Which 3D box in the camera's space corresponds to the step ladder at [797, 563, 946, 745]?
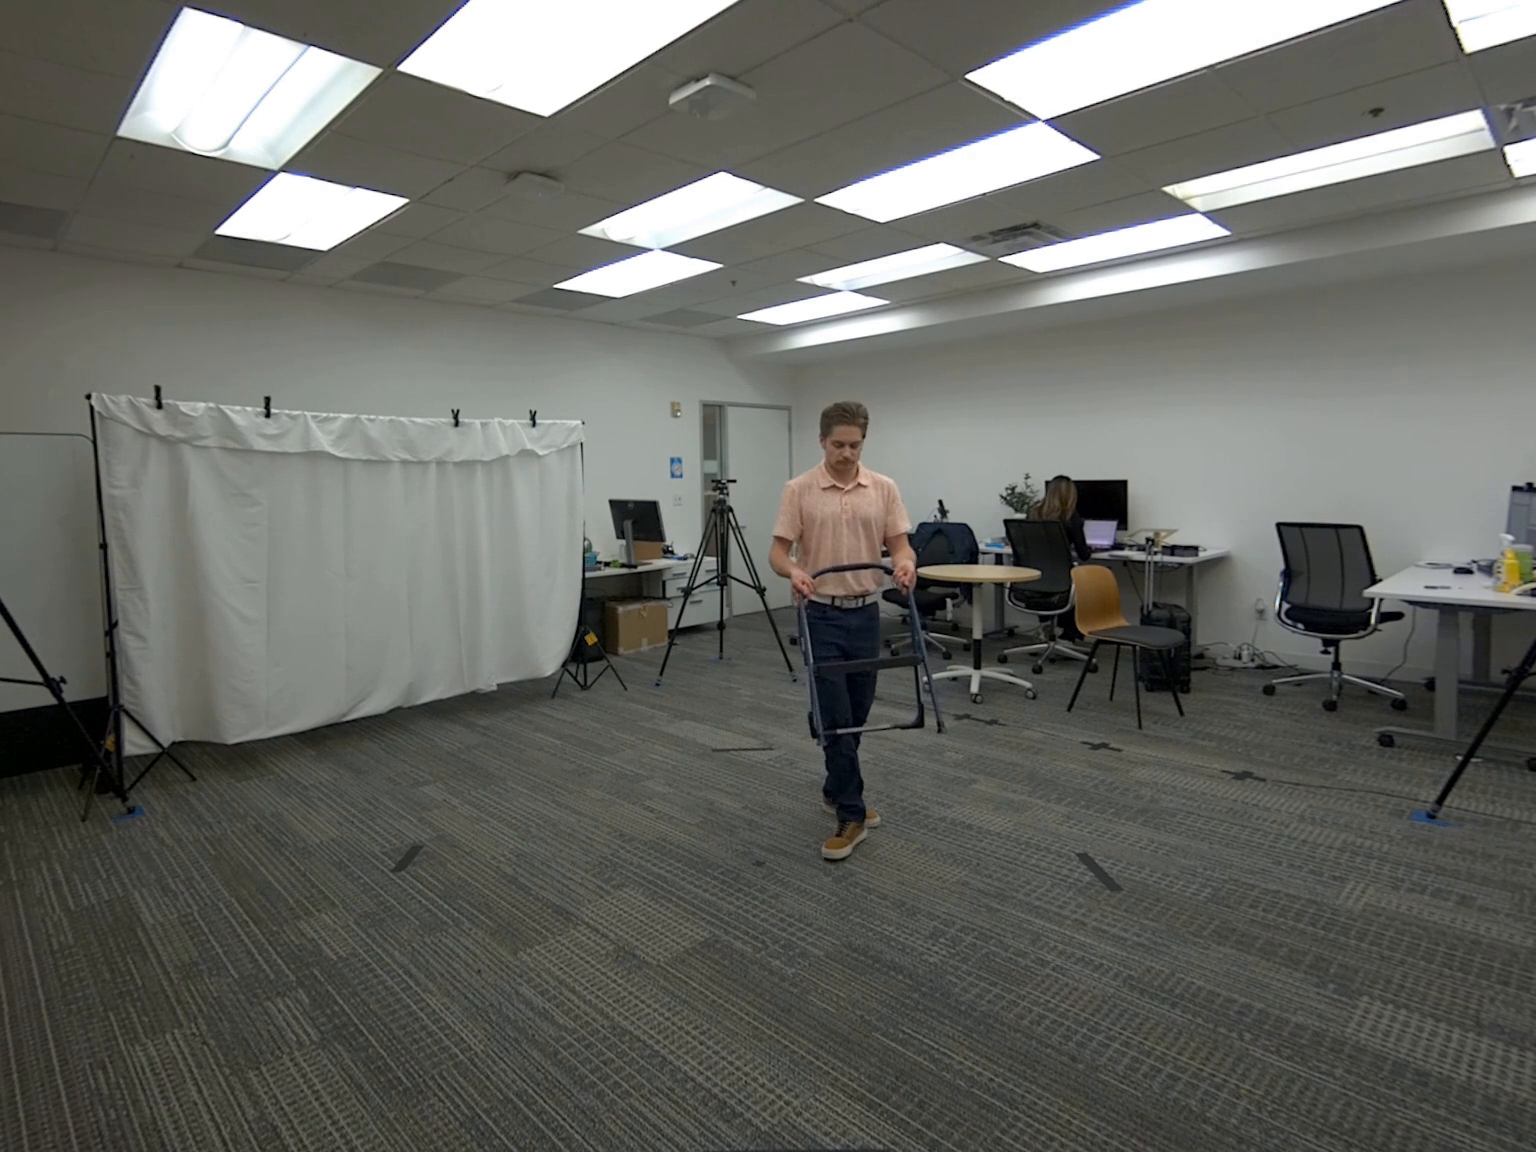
[{"bbox_3d":[0.338,0.258,2.995,0.430,0.612,0.346,-6,-10,-1],"label":"step ladder"}]
